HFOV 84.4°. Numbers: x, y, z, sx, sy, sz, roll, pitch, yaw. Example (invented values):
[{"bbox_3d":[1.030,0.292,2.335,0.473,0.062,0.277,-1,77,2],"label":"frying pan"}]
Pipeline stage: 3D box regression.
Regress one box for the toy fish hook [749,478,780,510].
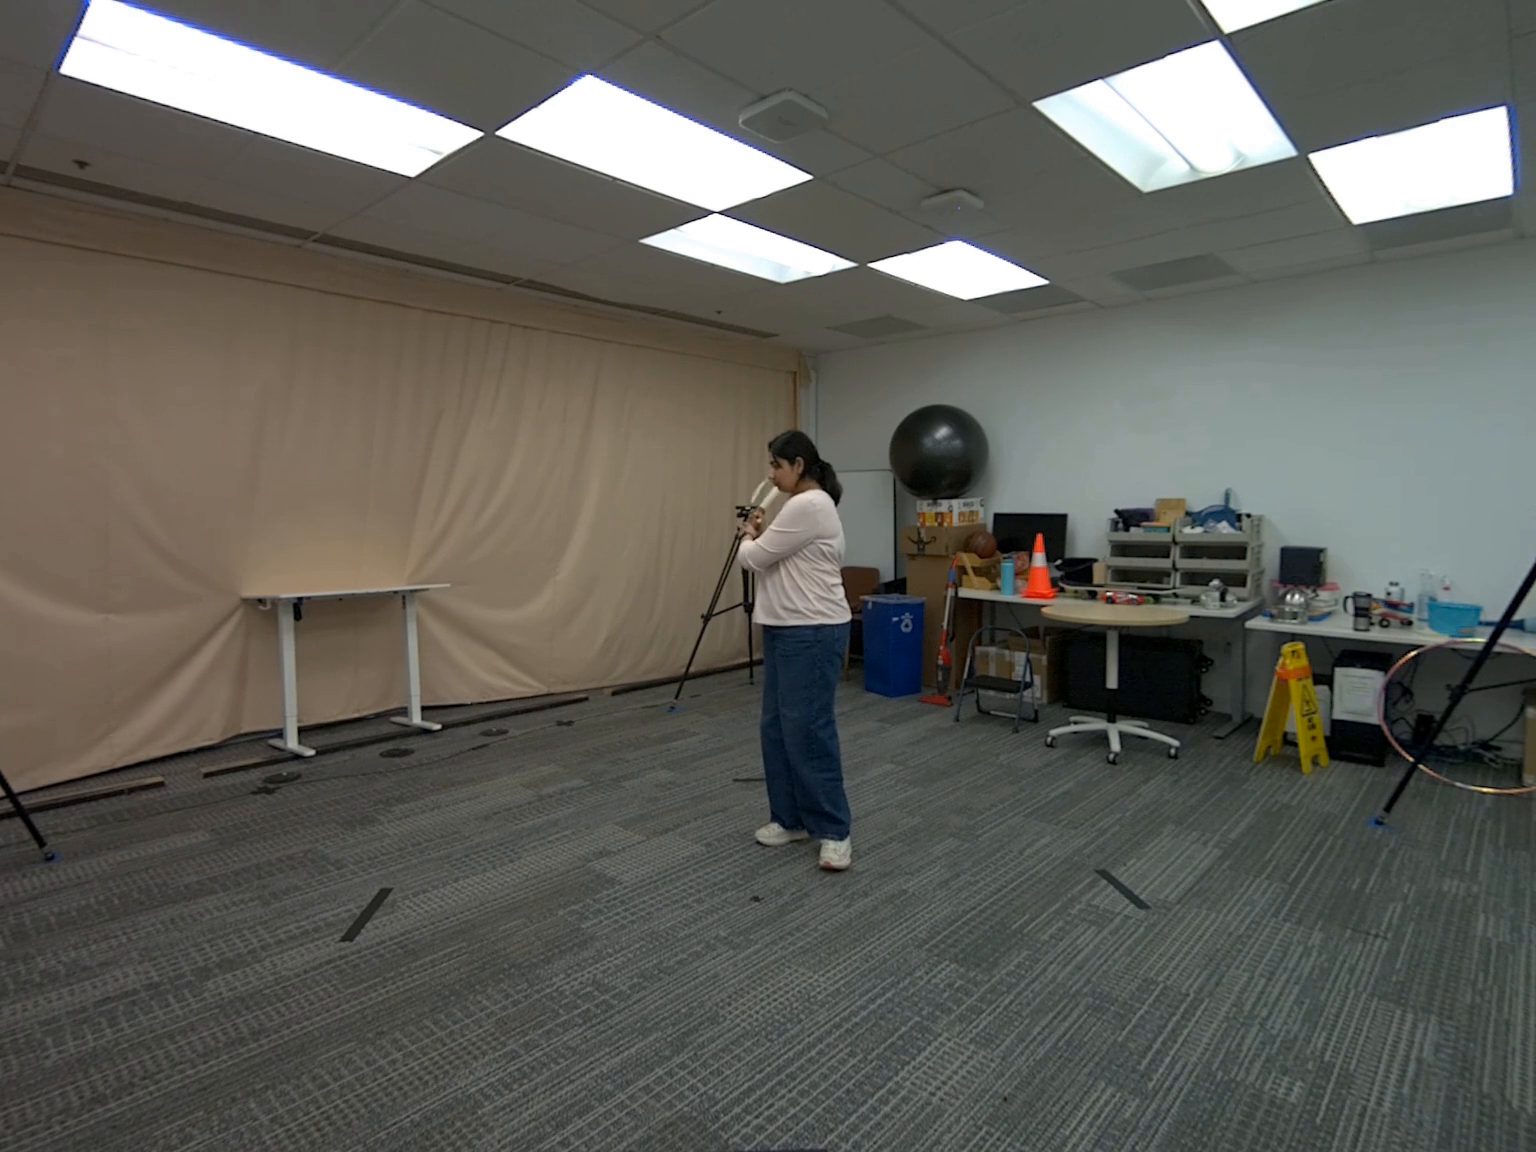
[{"bbox_3d":[-0.047,-0.310,3.836,0.047,0.507,0.229,42,-39,-19],"label":"toy fish hook"}]
